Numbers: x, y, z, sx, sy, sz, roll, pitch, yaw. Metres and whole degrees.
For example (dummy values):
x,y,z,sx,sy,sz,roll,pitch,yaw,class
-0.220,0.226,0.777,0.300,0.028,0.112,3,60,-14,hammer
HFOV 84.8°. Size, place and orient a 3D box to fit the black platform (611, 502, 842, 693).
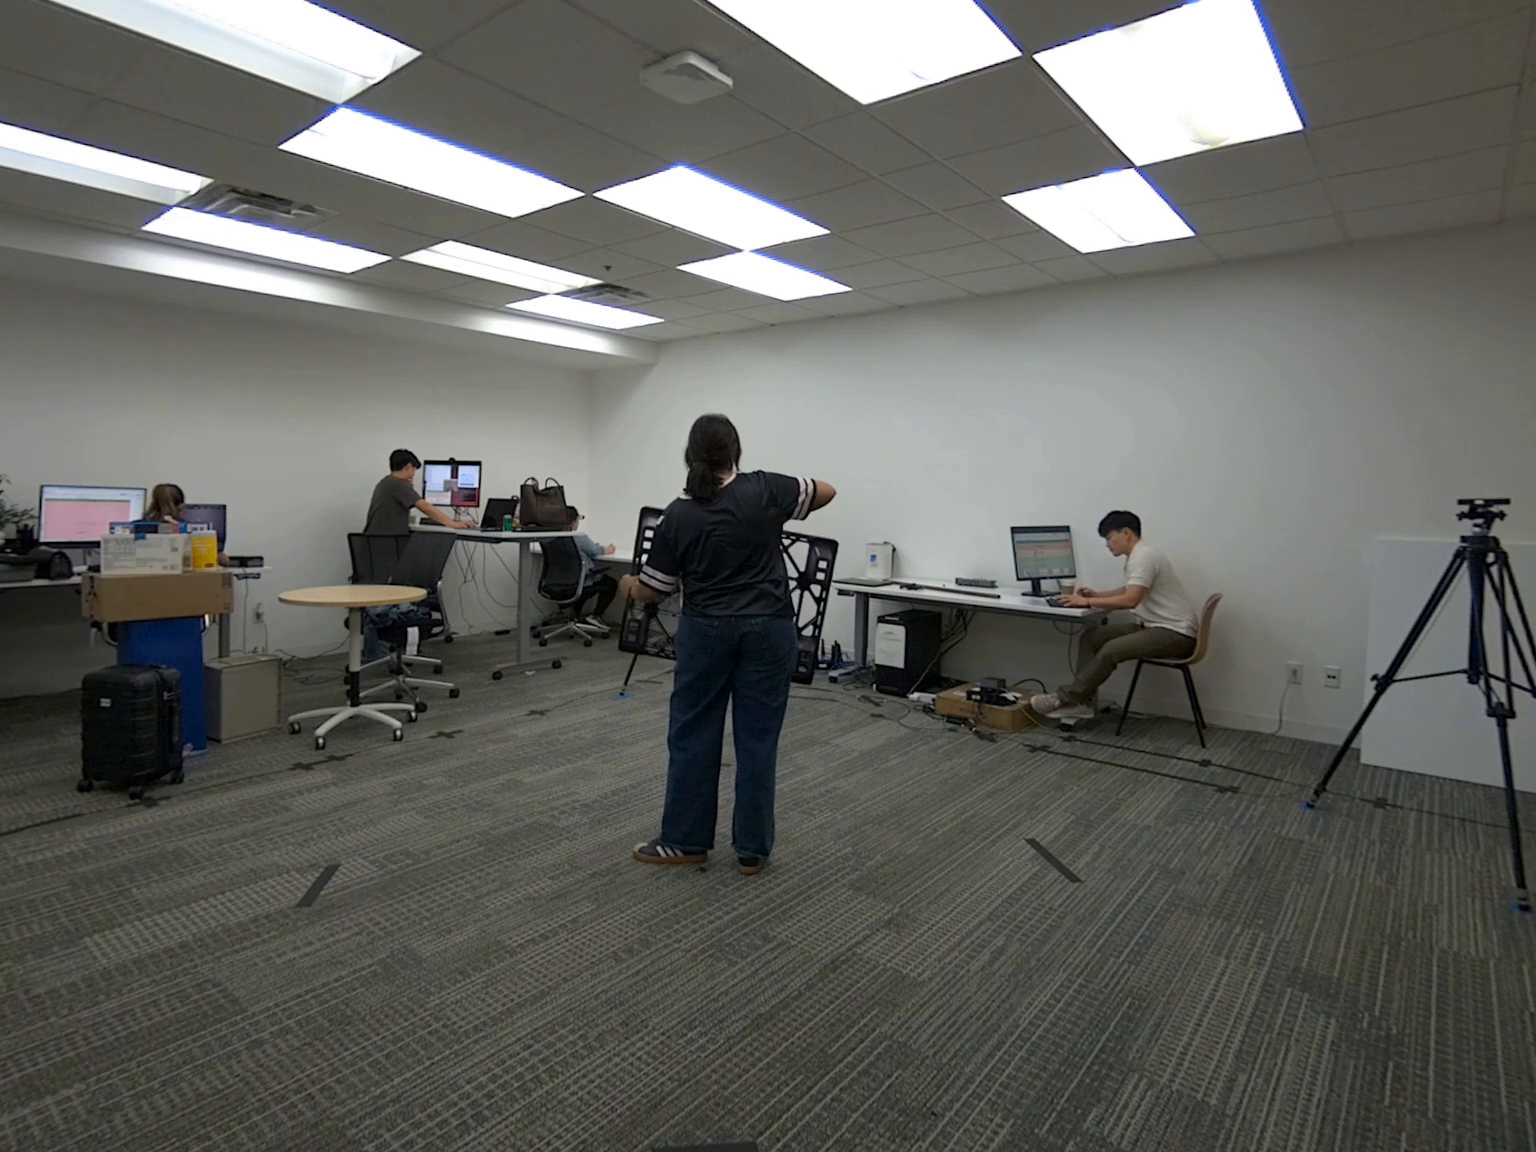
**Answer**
x,y,z,sx,sy,sz,roll,pitch,yaw,class
-0.173,0.080,3.363,0.806,0.602,0.144,11,7,0,black platform
